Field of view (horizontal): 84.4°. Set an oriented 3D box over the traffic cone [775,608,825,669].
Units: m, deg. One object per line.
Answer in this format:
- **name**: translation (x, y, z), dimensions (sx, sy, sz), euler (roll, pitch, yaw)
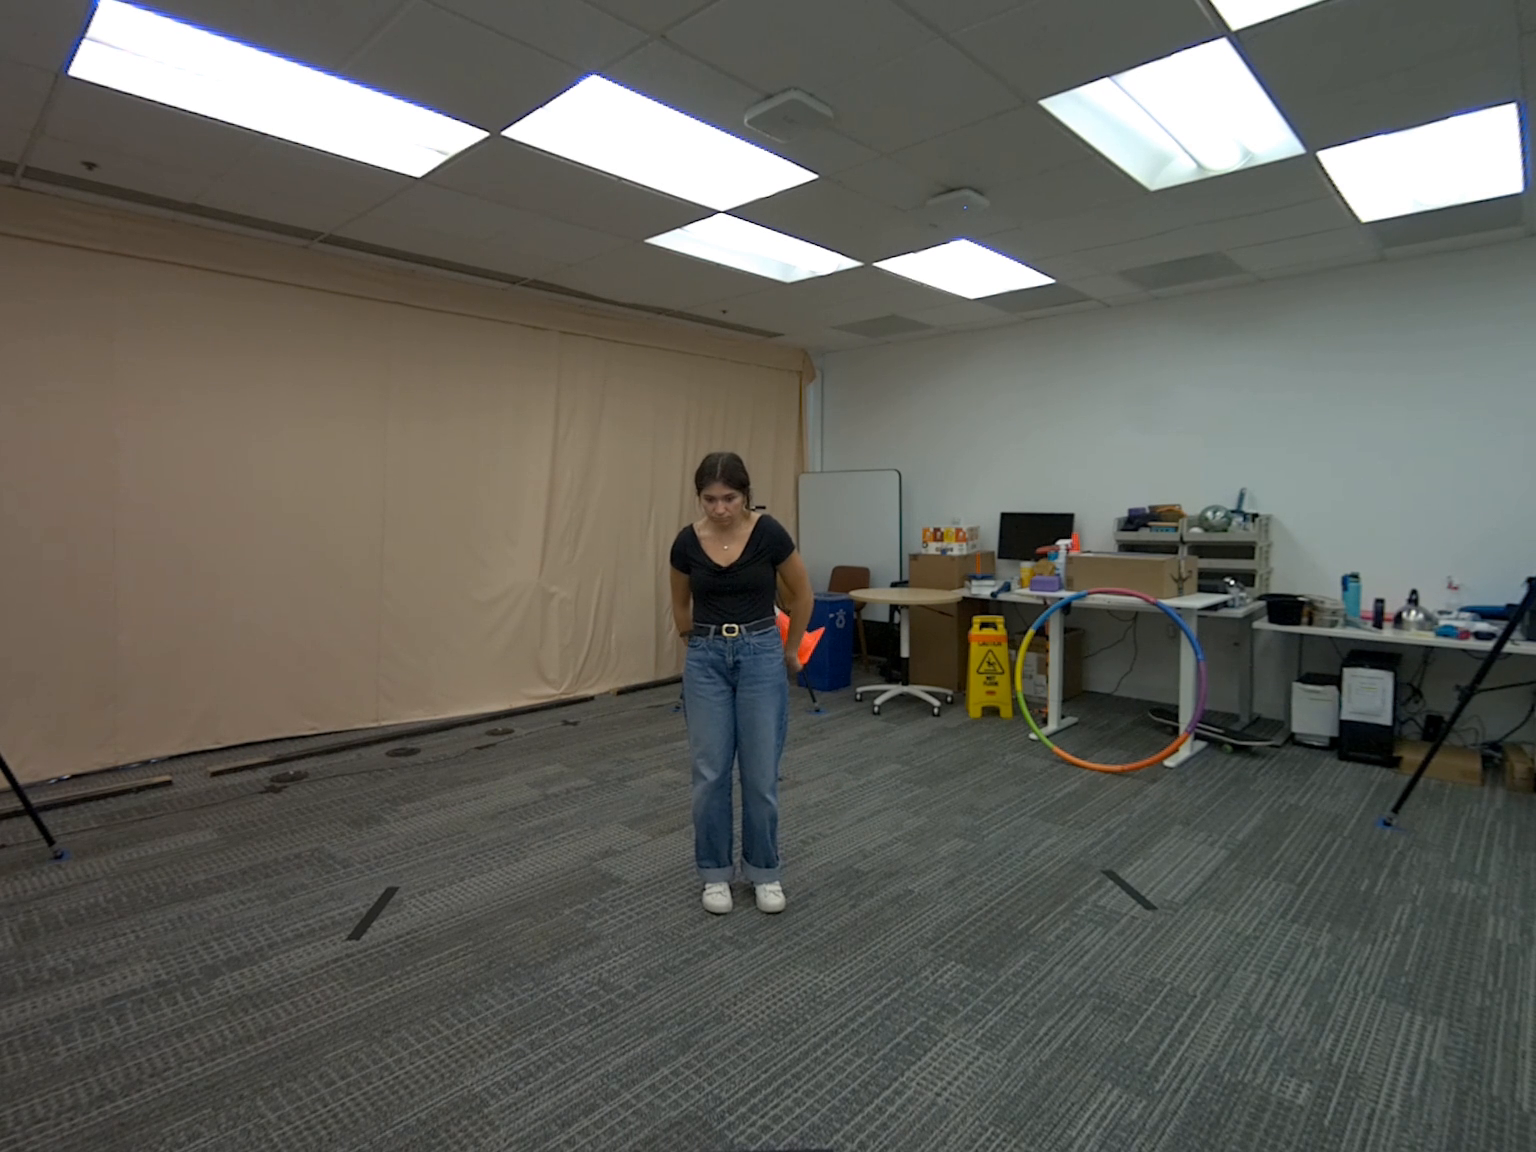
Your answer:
- **traffic cone**: translation (0.009, 0.160, 3.144), dimensions (0.208, 0.380, 0.202), euler (-31, 12, 40)
